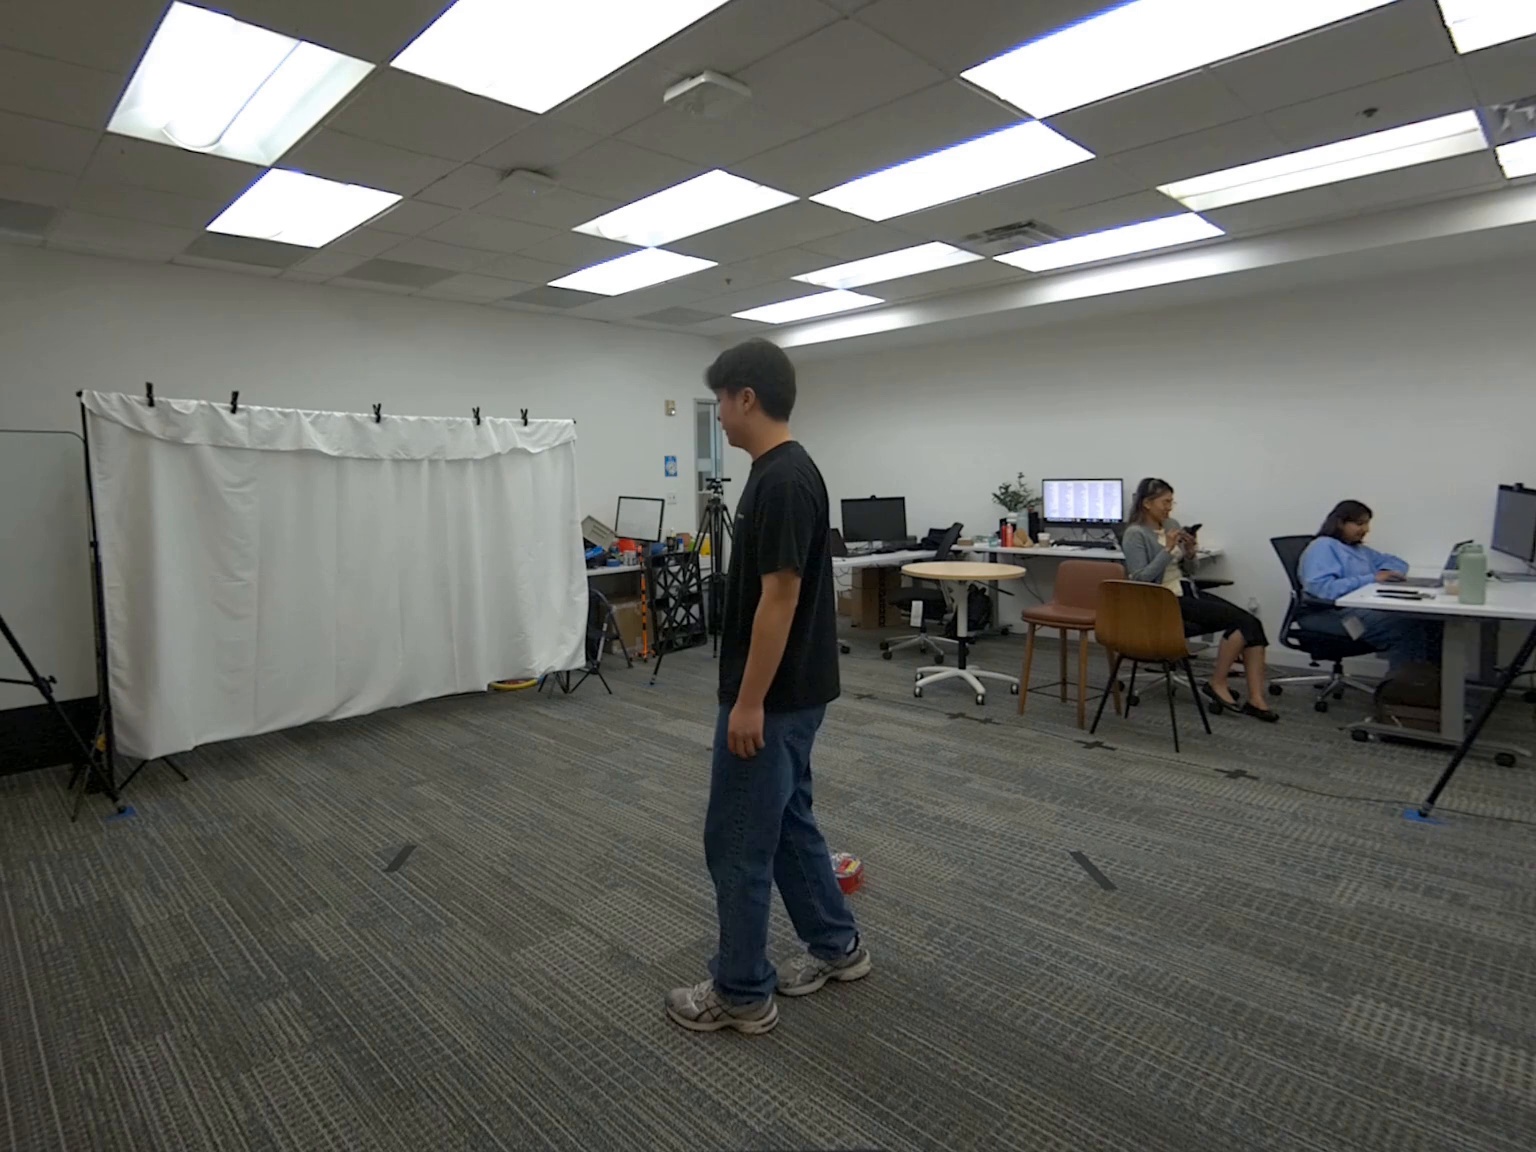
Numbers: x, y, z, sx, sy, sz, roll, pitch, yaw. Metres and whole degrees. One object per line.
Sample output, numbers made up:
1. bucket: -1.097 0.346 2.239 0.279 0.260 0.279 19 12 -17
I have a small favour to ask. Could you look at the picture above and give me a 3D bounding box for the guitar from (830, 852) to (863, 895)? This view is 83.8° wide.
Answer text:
1. guitar: 0.112 1.012 3.050 0.512 0.070 0.188 4 8 34
